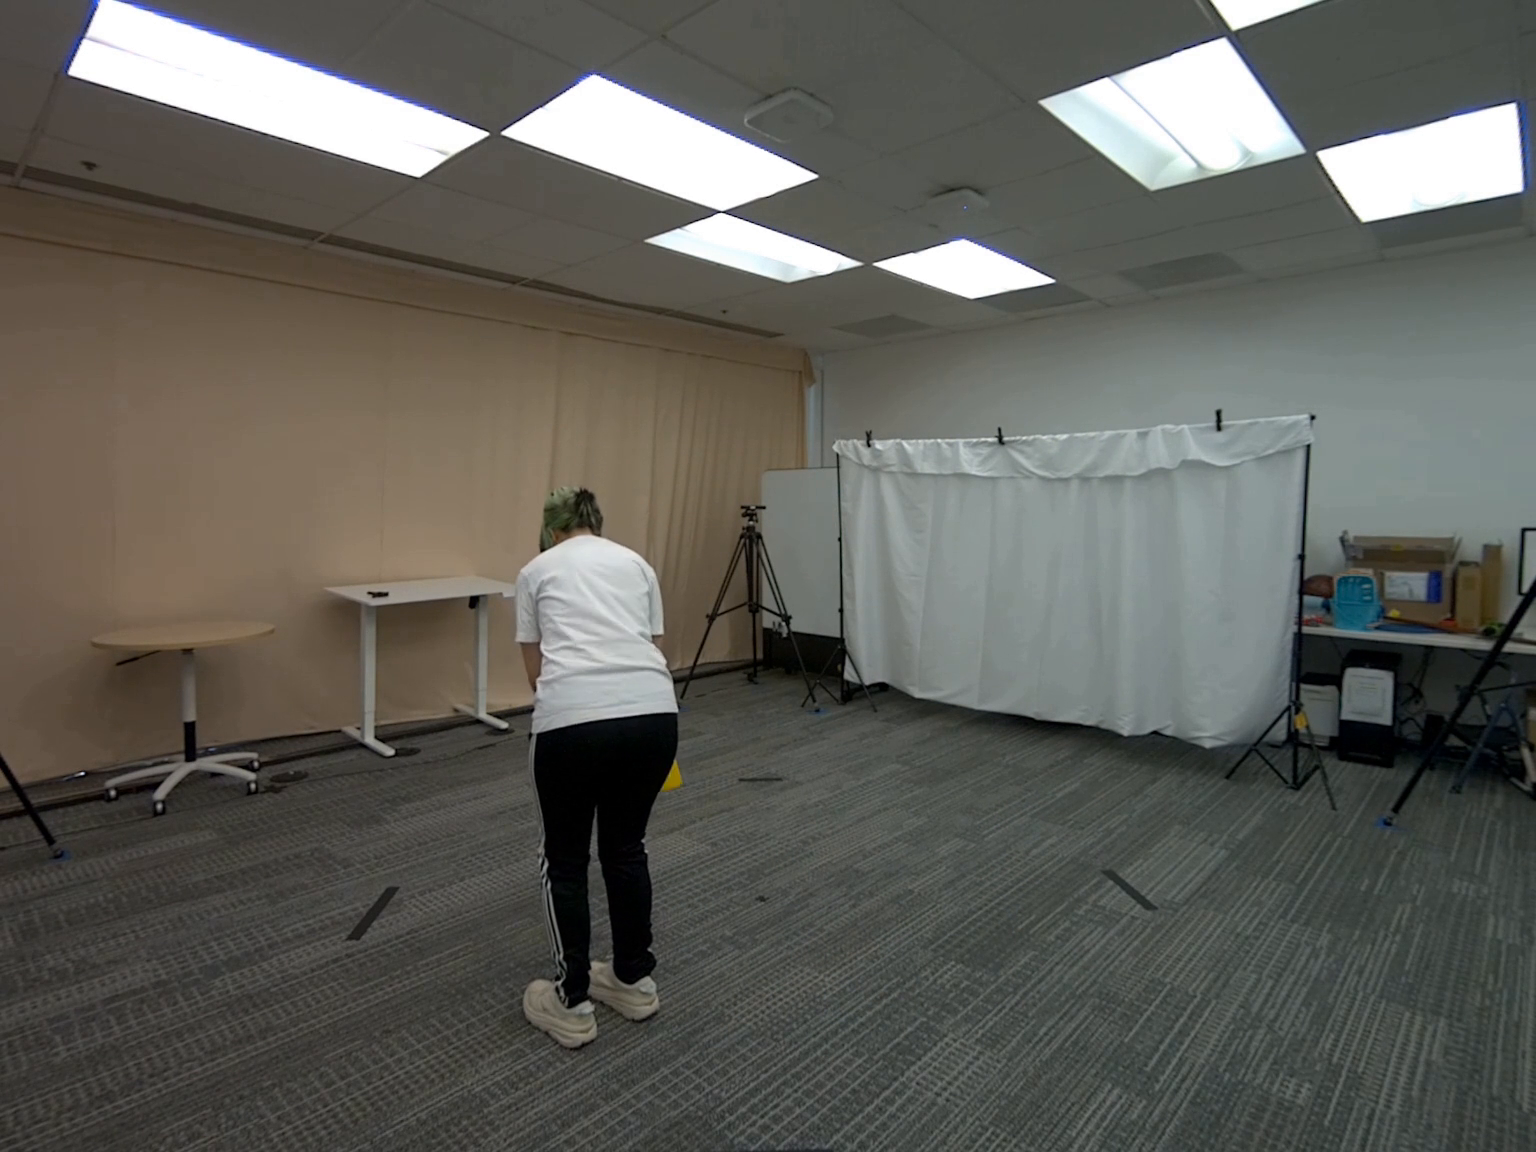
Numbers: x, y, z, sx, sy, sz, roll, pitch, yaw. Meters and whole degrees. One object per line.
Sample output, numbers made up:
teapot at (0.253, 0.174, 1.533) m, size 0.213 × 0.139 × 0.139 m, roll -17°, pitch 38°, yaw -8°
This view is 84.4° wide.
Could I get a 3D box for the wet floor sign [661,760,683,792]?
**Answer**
wet floor sign at (-0.498, 0.383, 2.756) m, size 0.278 × 0.644 × 0.295 m, roll -10°, pitch 4°, yaw -16°
